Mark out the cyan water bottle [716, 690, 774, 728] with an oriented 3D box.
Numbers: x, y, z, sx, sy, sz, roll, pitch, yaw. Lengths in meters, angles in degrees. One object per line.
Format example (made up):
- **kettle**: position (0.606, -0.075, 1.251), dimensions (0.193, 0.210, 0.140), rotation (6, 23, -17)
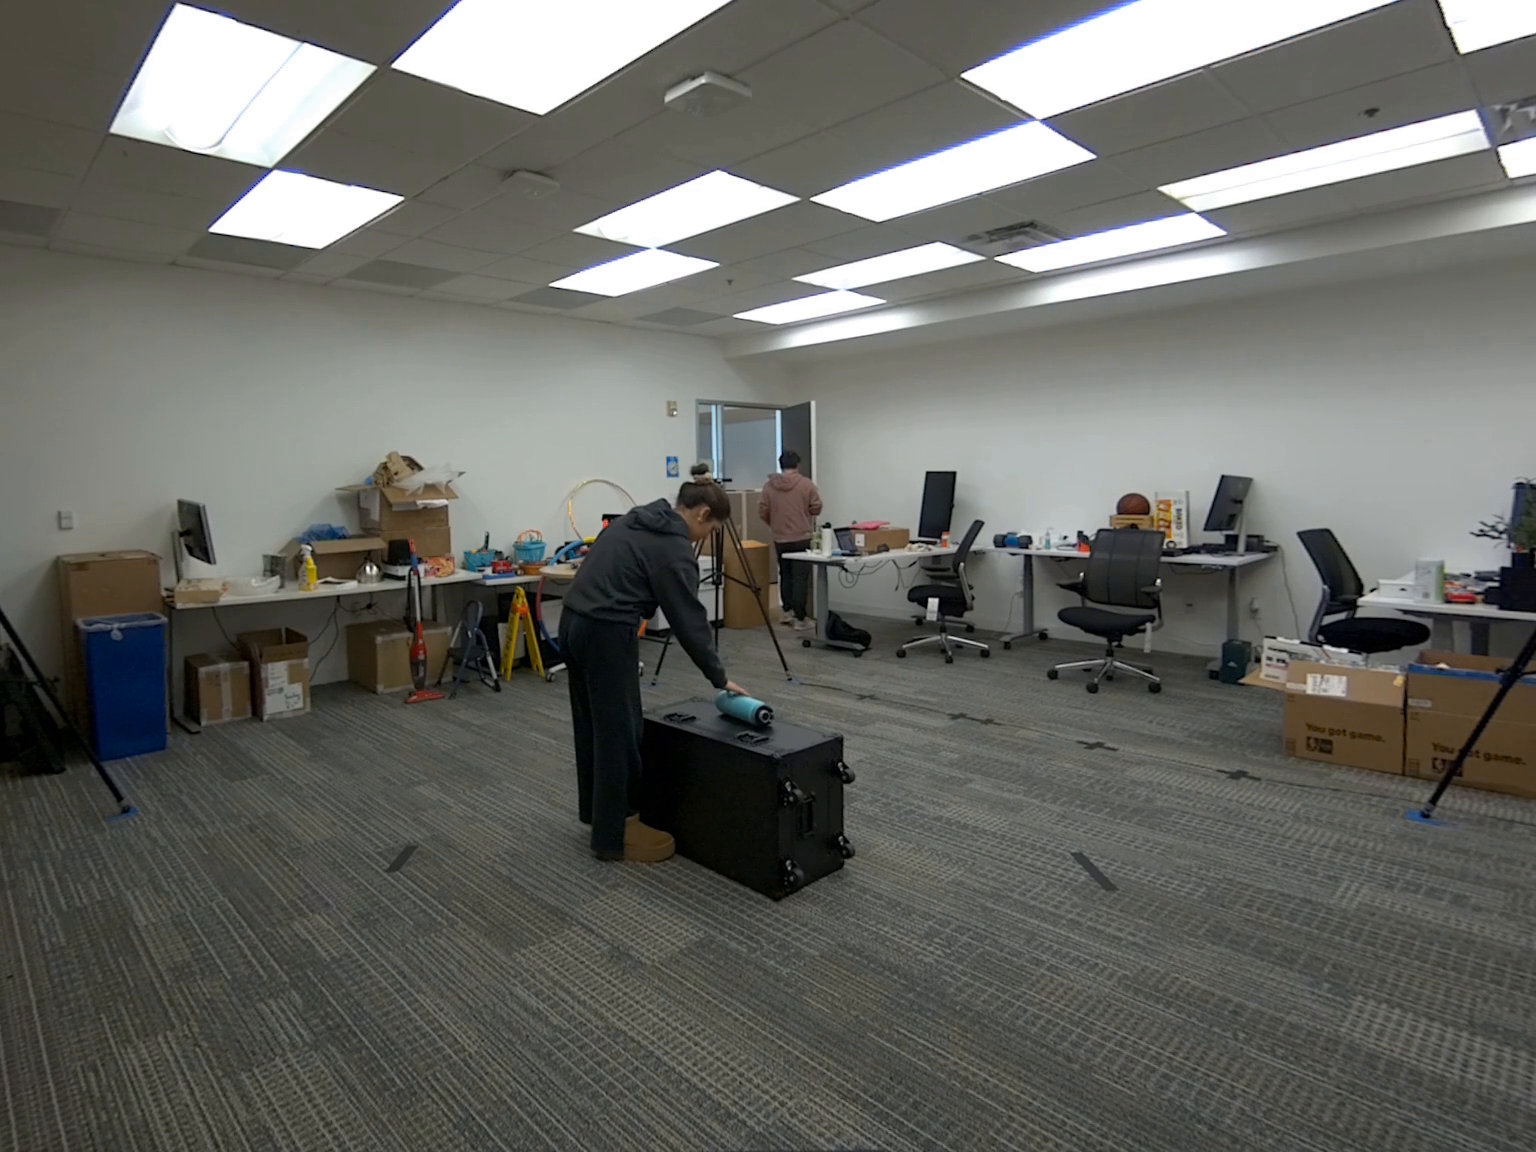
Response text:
- **cyan water bottle**: position (-0.086, 0.499, 3.213), dimensions (0.090, 0.092, 0.292), rotation (-4, 7, -37)
